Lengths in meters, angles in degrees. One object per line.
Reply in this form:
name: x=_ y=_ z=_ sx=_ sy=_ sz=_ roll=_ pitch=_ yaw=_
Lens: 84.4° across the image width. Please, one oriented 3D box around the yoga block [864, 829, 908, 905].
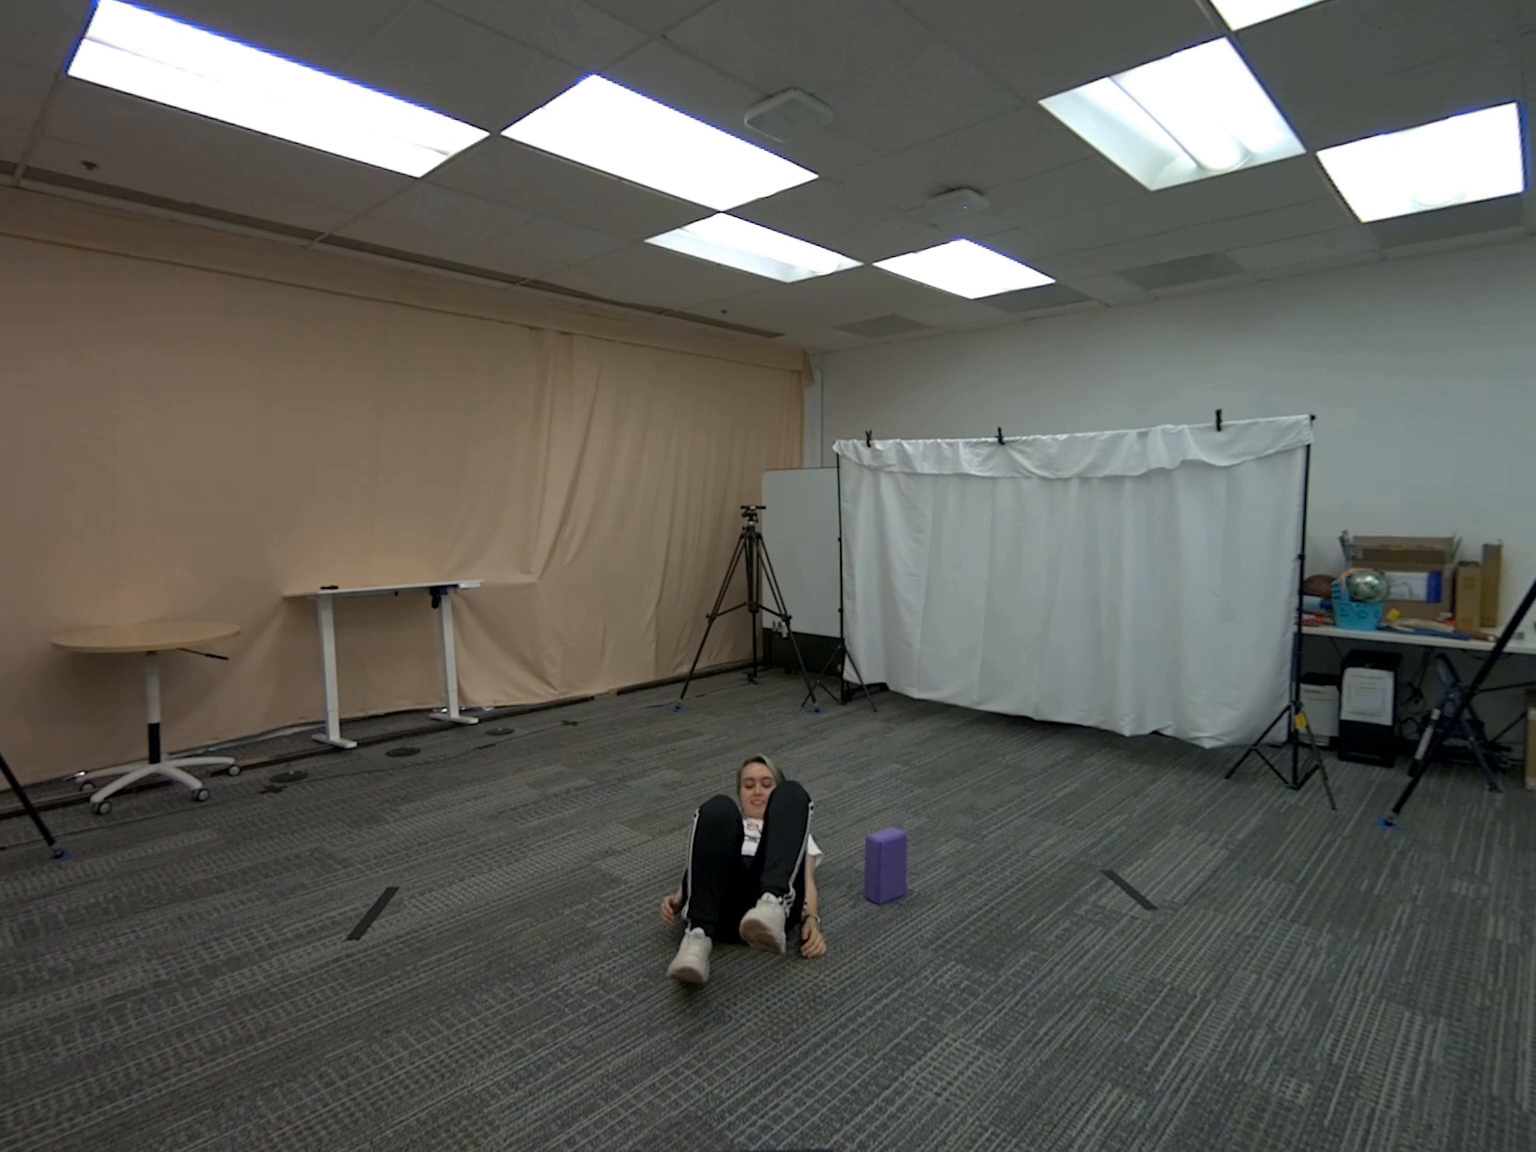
yoga block: x=0.424 y=1.023 z=2.985 sx=0.144 sy=0.229 sz=0.079 roll=-3 pitch=4 yaw=-39
